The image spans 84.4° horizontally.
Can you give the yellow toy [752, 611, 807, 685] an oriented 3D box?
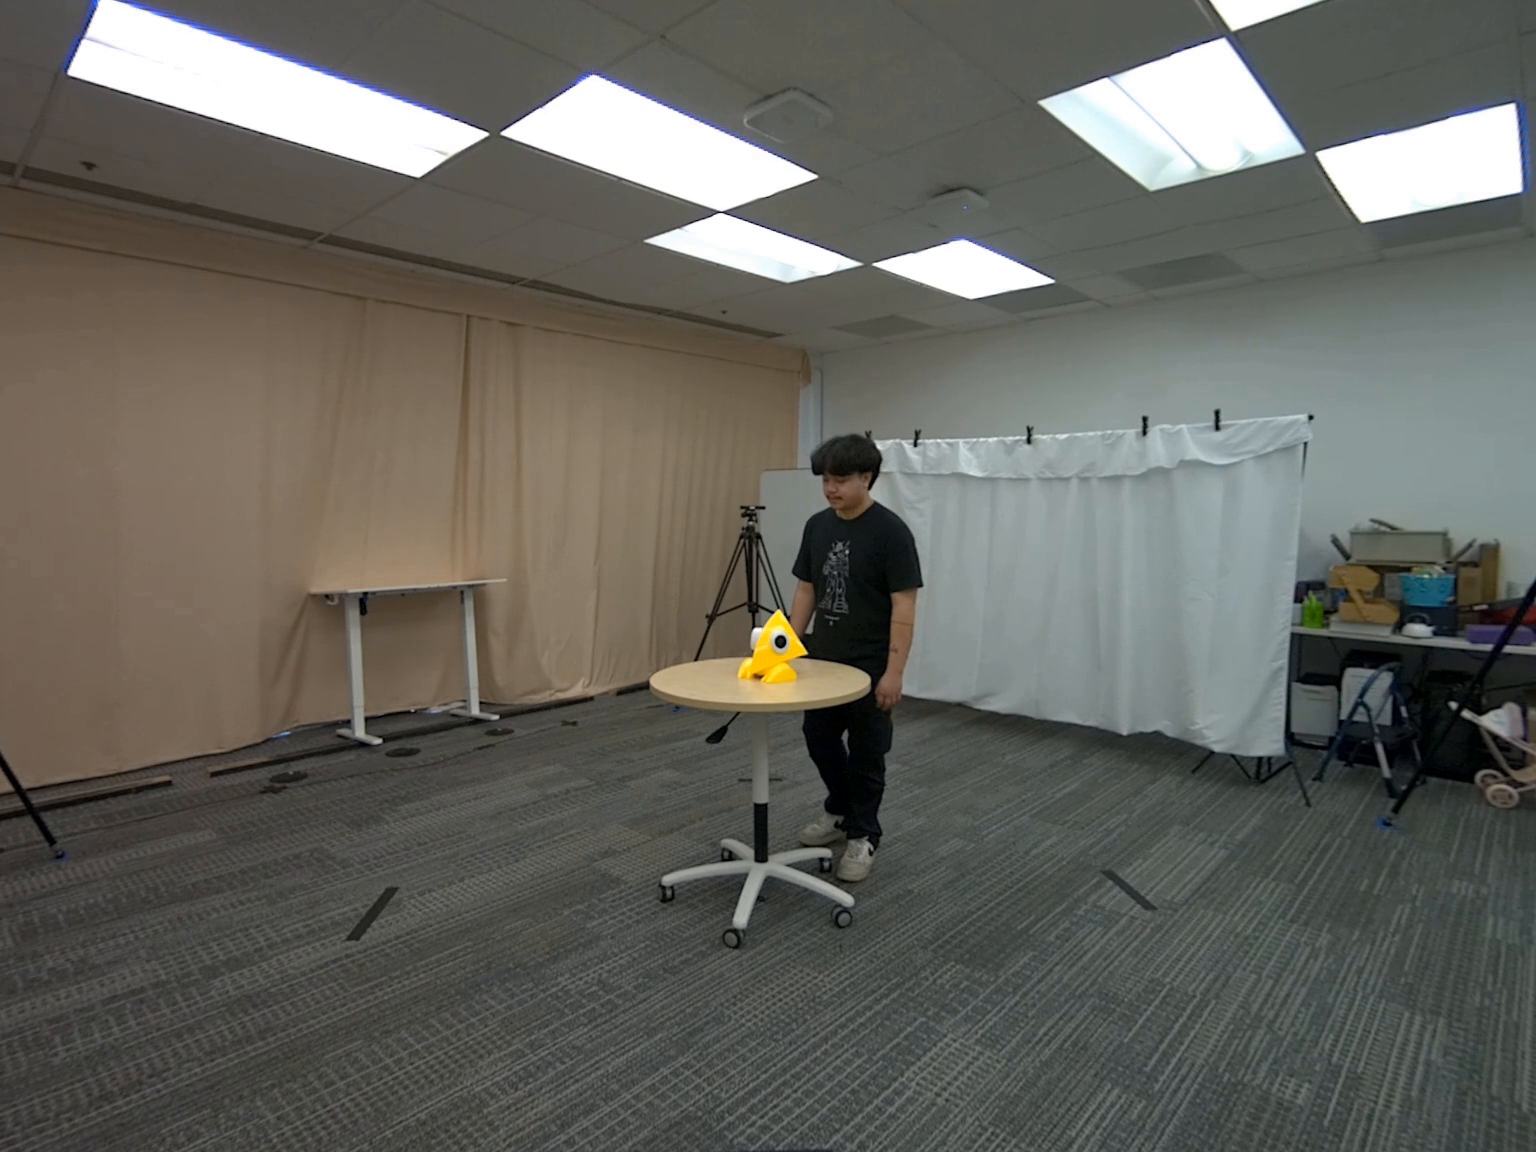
[{"bbox_3d":[0.006,0.237,2.943,0.211,0.230,0.187,3,5,41],"label":"yellow toy"}]
